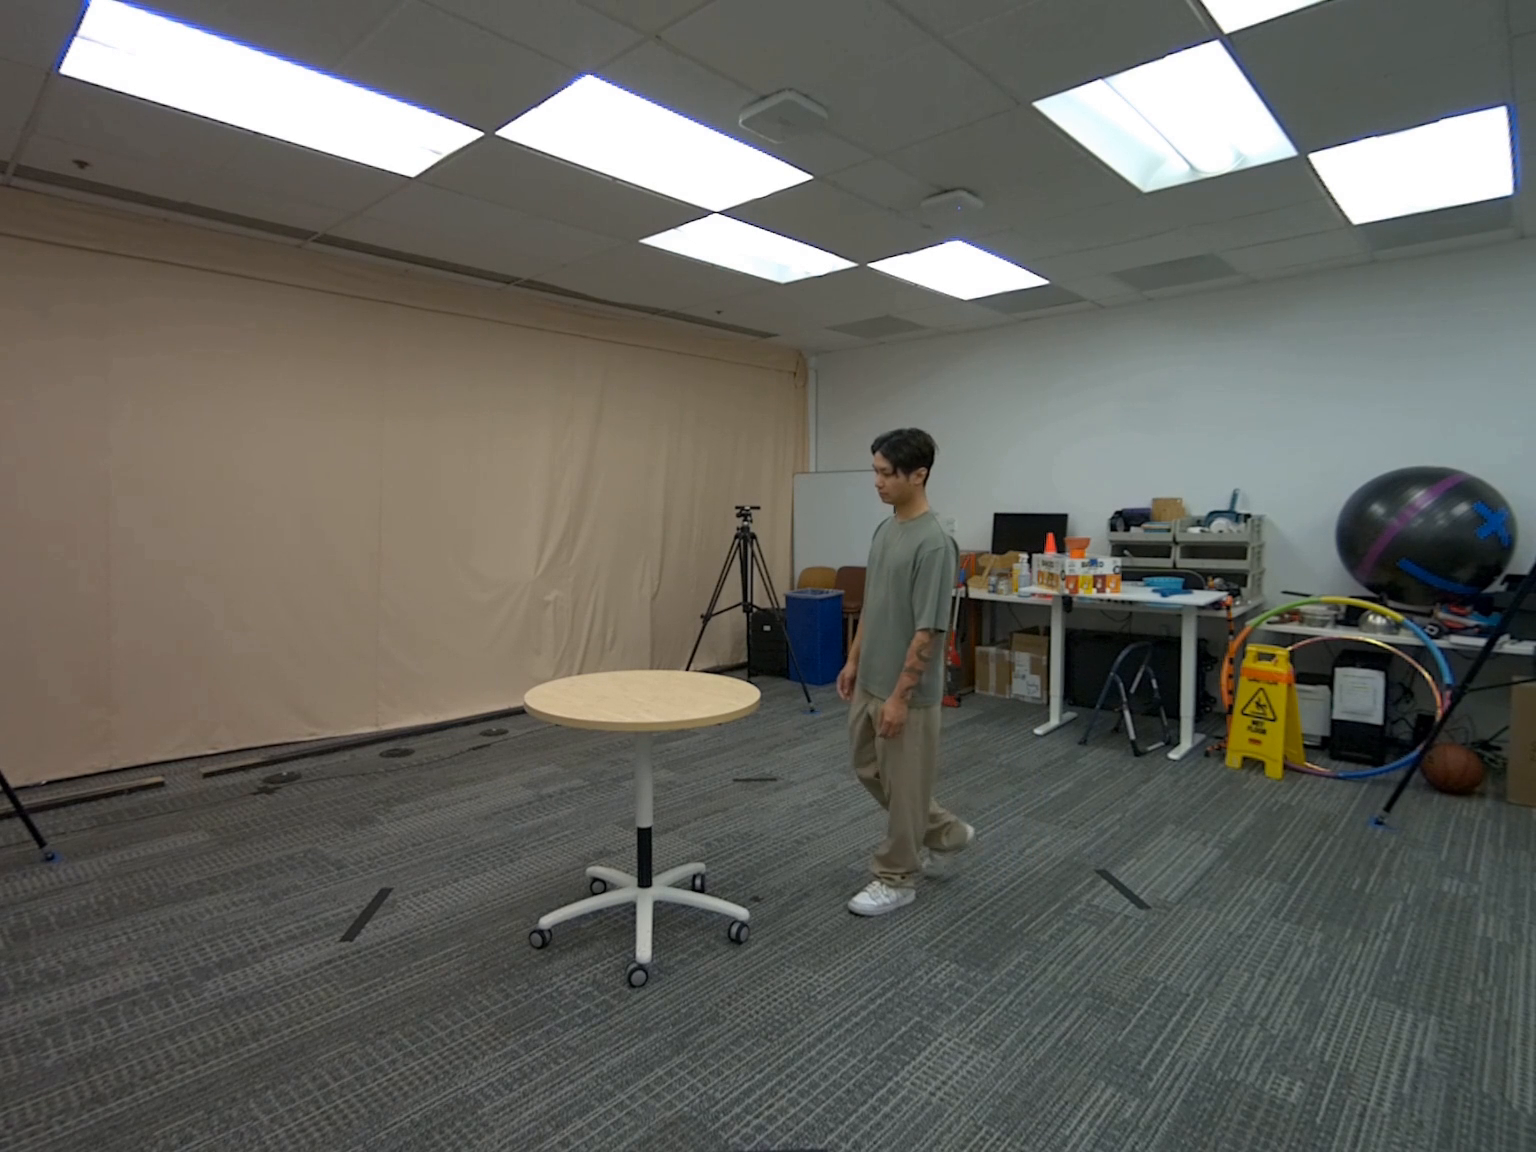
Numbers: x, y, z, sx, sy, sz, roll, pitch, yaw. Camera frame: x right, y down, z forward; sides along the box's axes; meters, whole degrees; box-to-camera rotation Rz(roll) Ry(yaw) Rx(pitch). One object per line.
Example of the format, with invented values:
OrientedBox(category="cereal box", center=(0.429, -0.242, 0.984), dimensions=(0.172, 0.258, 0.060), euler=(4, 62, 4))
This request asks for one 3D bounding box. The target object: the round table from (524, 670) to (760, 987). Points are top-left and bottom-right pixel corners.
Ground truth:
OrientedBox(category="round table", center=(-0.420, 0.776, 2.770), dimensions=(0.784, 0.785, 0.788), euler=(1, 3, -2))
